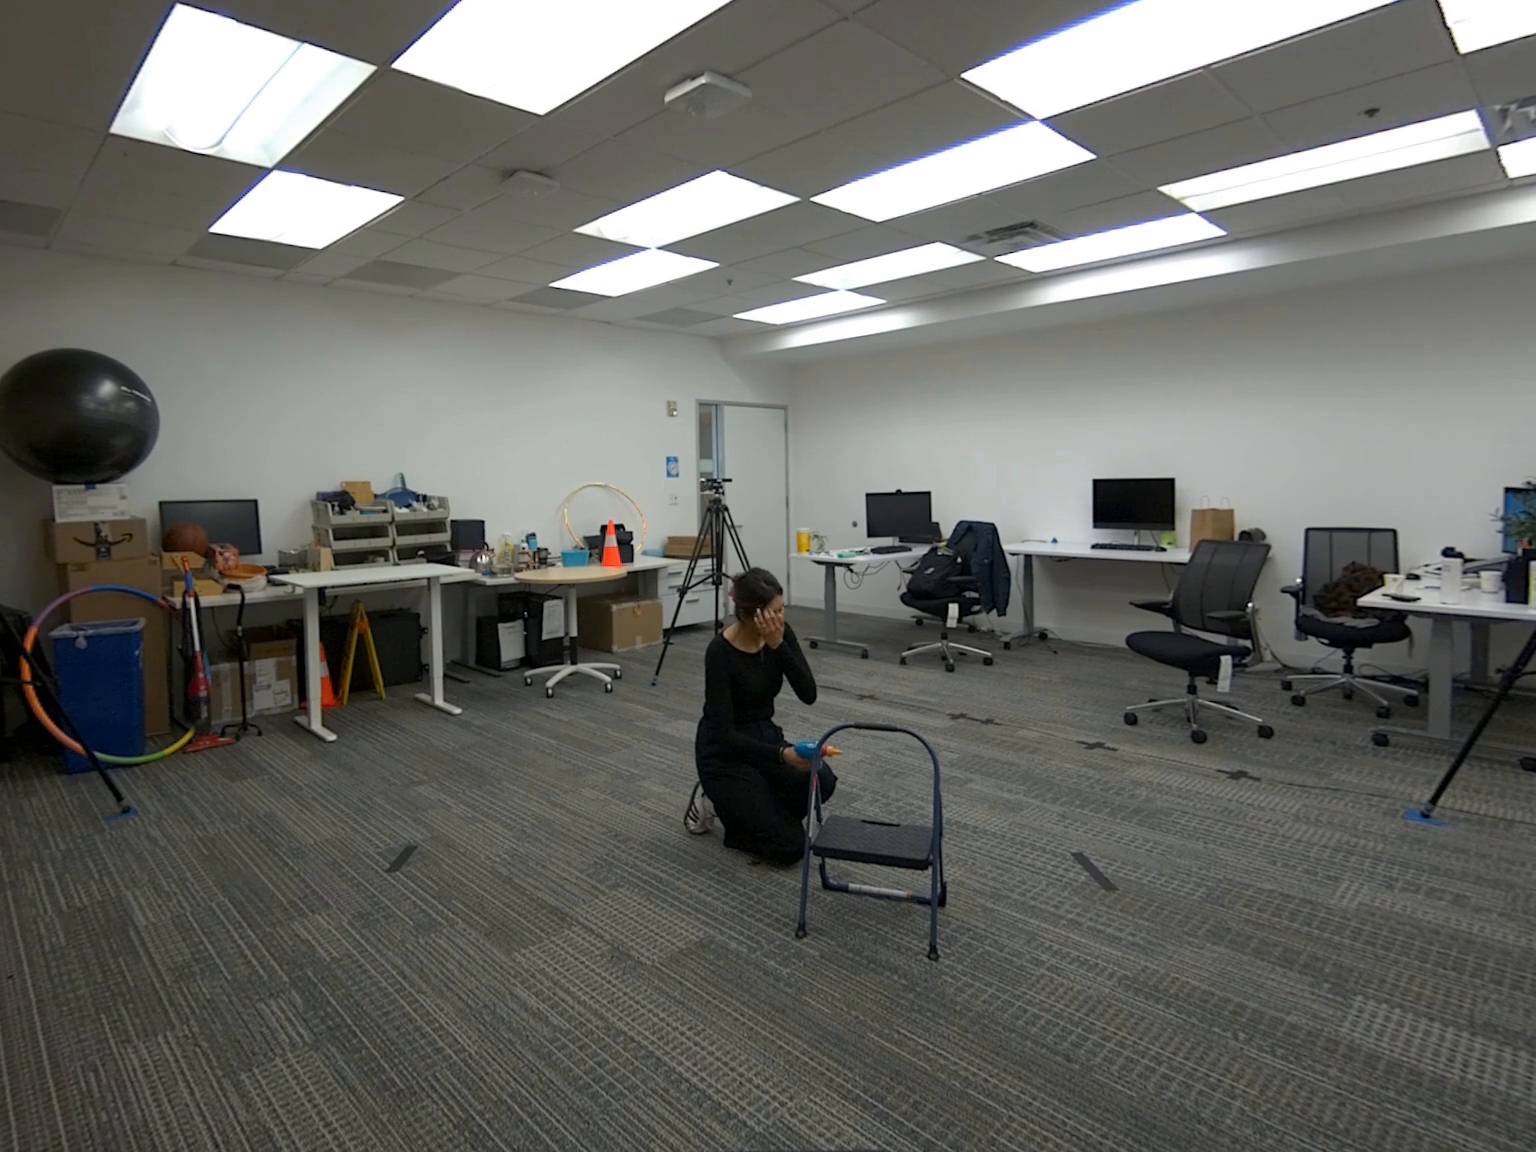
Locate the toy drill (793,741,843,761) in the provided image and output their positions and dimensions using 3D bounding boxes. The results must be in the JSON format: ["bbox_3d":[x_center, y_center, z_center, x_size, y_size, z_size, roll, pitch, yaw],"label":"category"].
[{"bbox_3d":[0.178,0.619,2.924,0.172,0.062,0.141,-1,-41,14],"label":"toy drill"}]
